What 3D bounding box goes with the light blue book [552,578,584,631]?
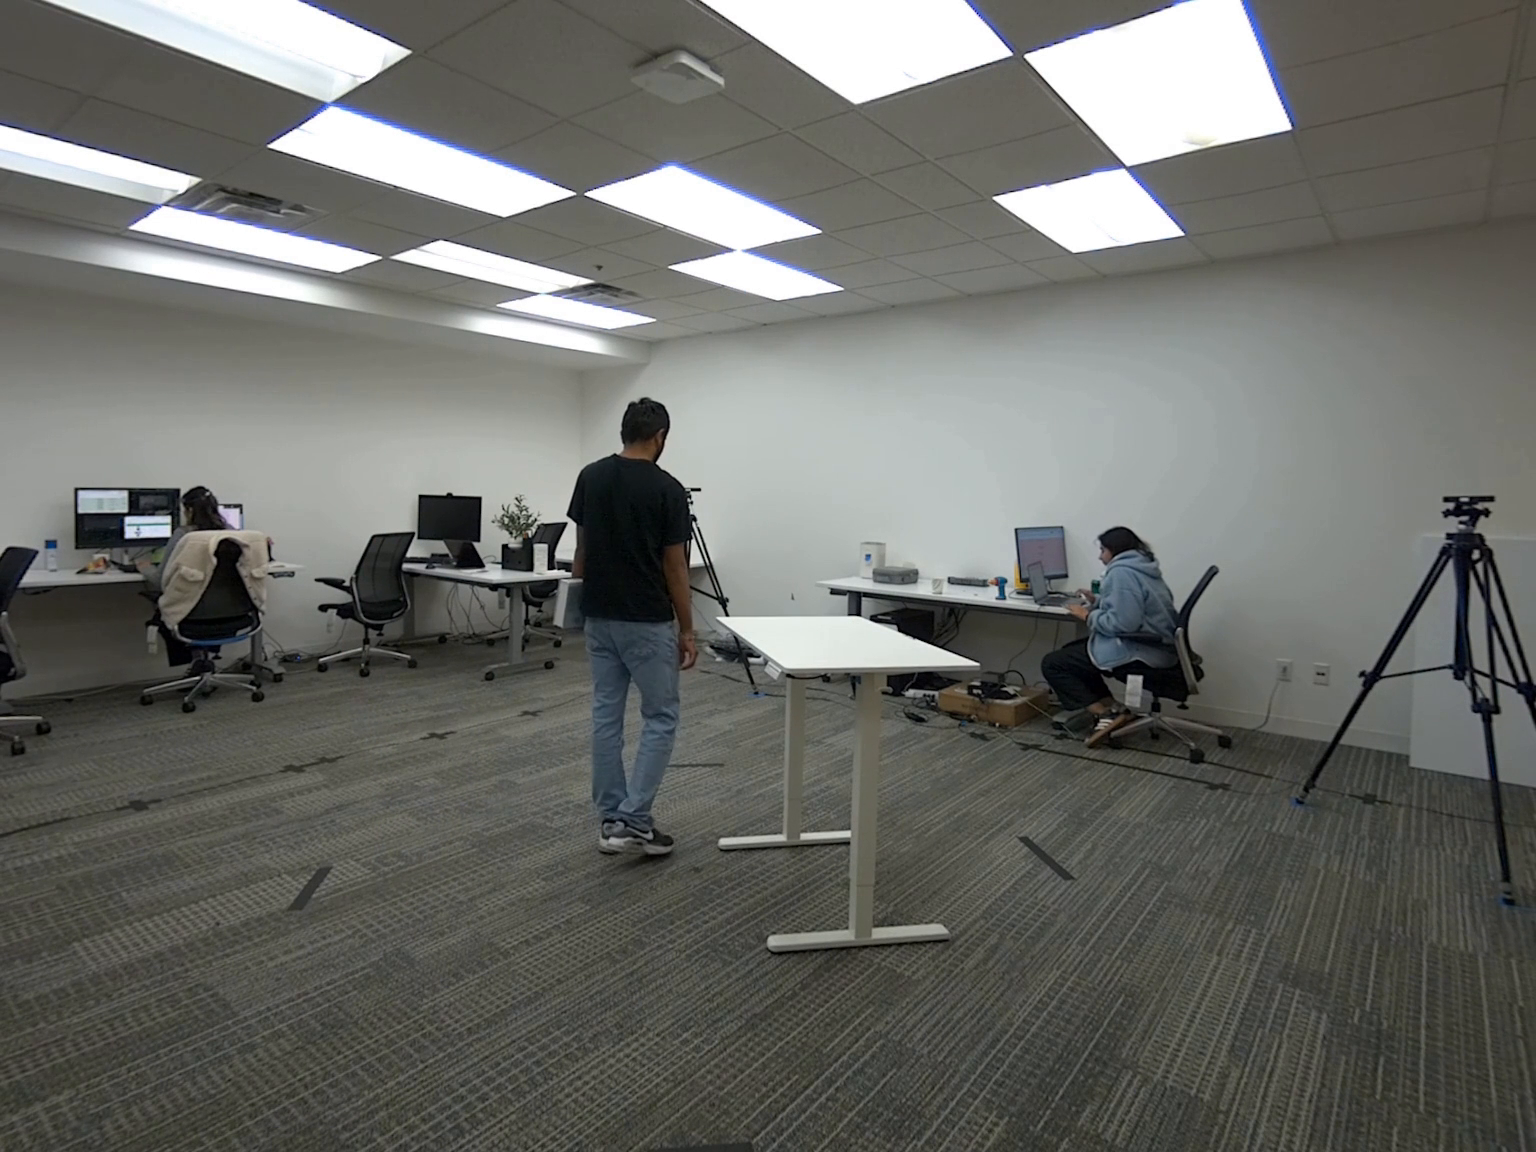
[{"bbox_3d":[-0.725,0.099,3.384,0.061,0.190,0.253,19,15,39],"label":"light blue book"}]
